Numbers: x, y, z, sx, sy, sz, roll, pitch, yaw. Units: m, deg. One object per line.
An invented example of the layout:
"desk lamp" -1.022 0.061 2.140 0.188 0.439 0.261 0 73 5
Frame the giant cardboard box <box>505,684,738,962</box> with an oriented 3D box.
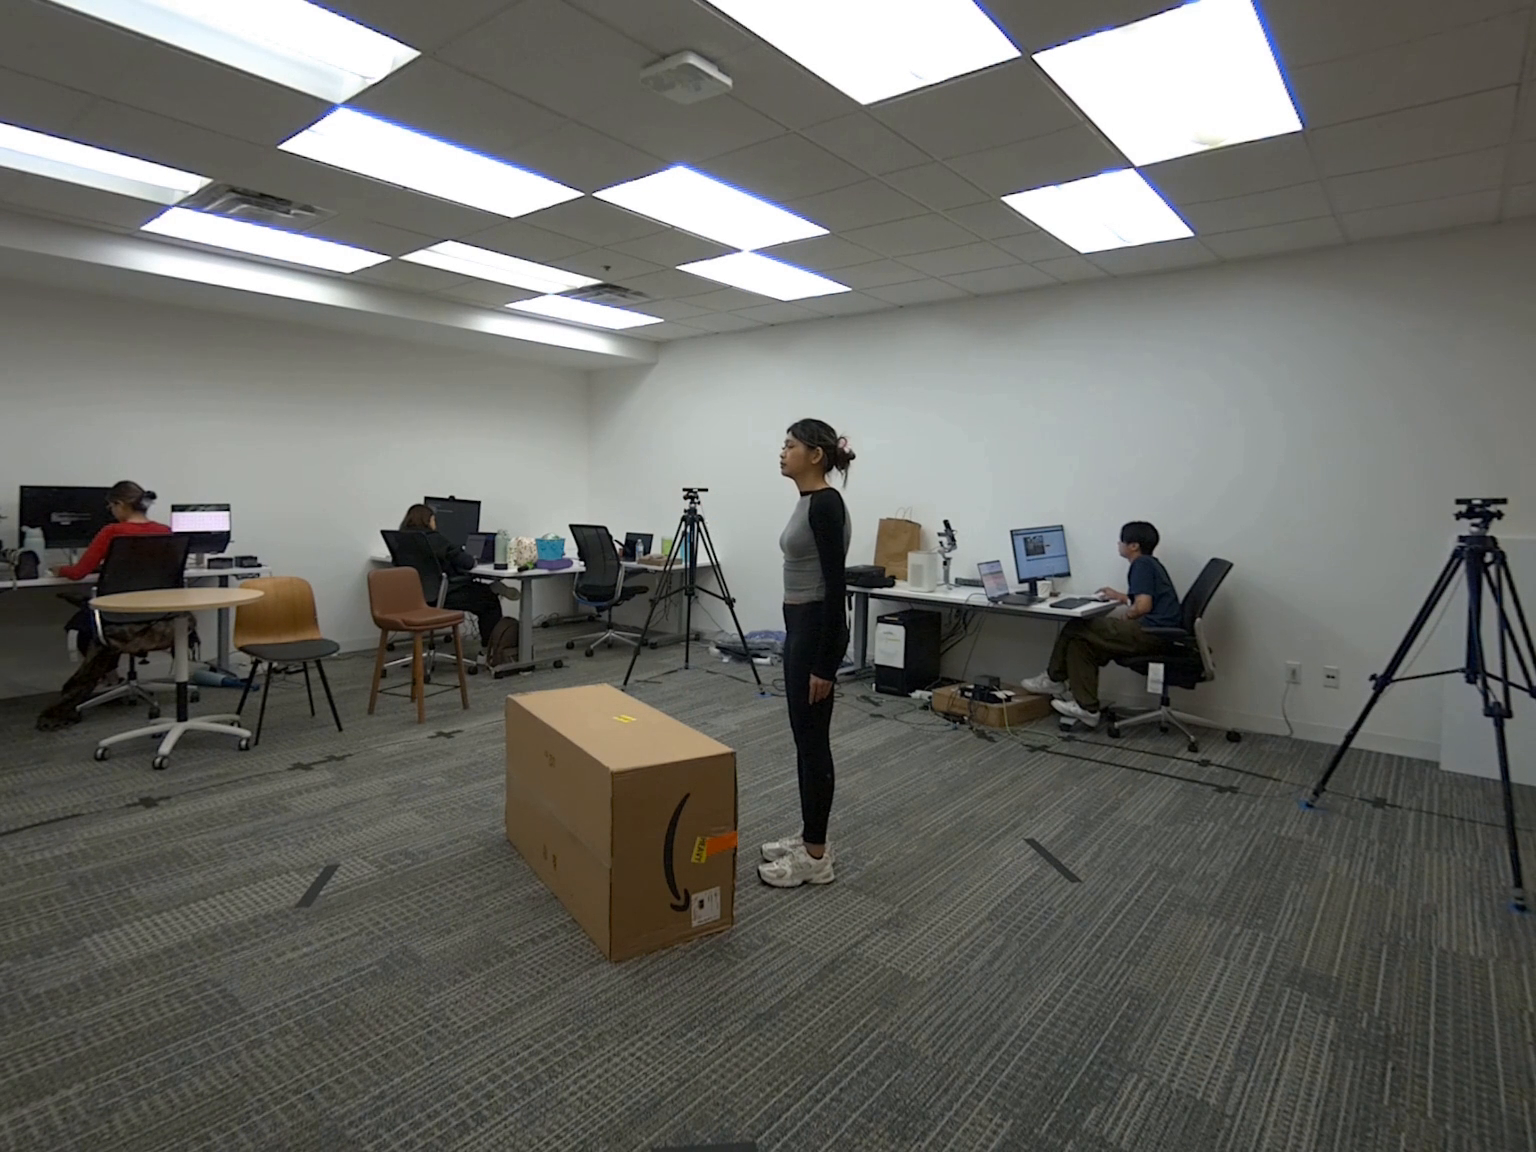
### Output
"giant cardboard box" -0.570 0.786 2.999 0.414 0.575 1.059 -2 6 -33
